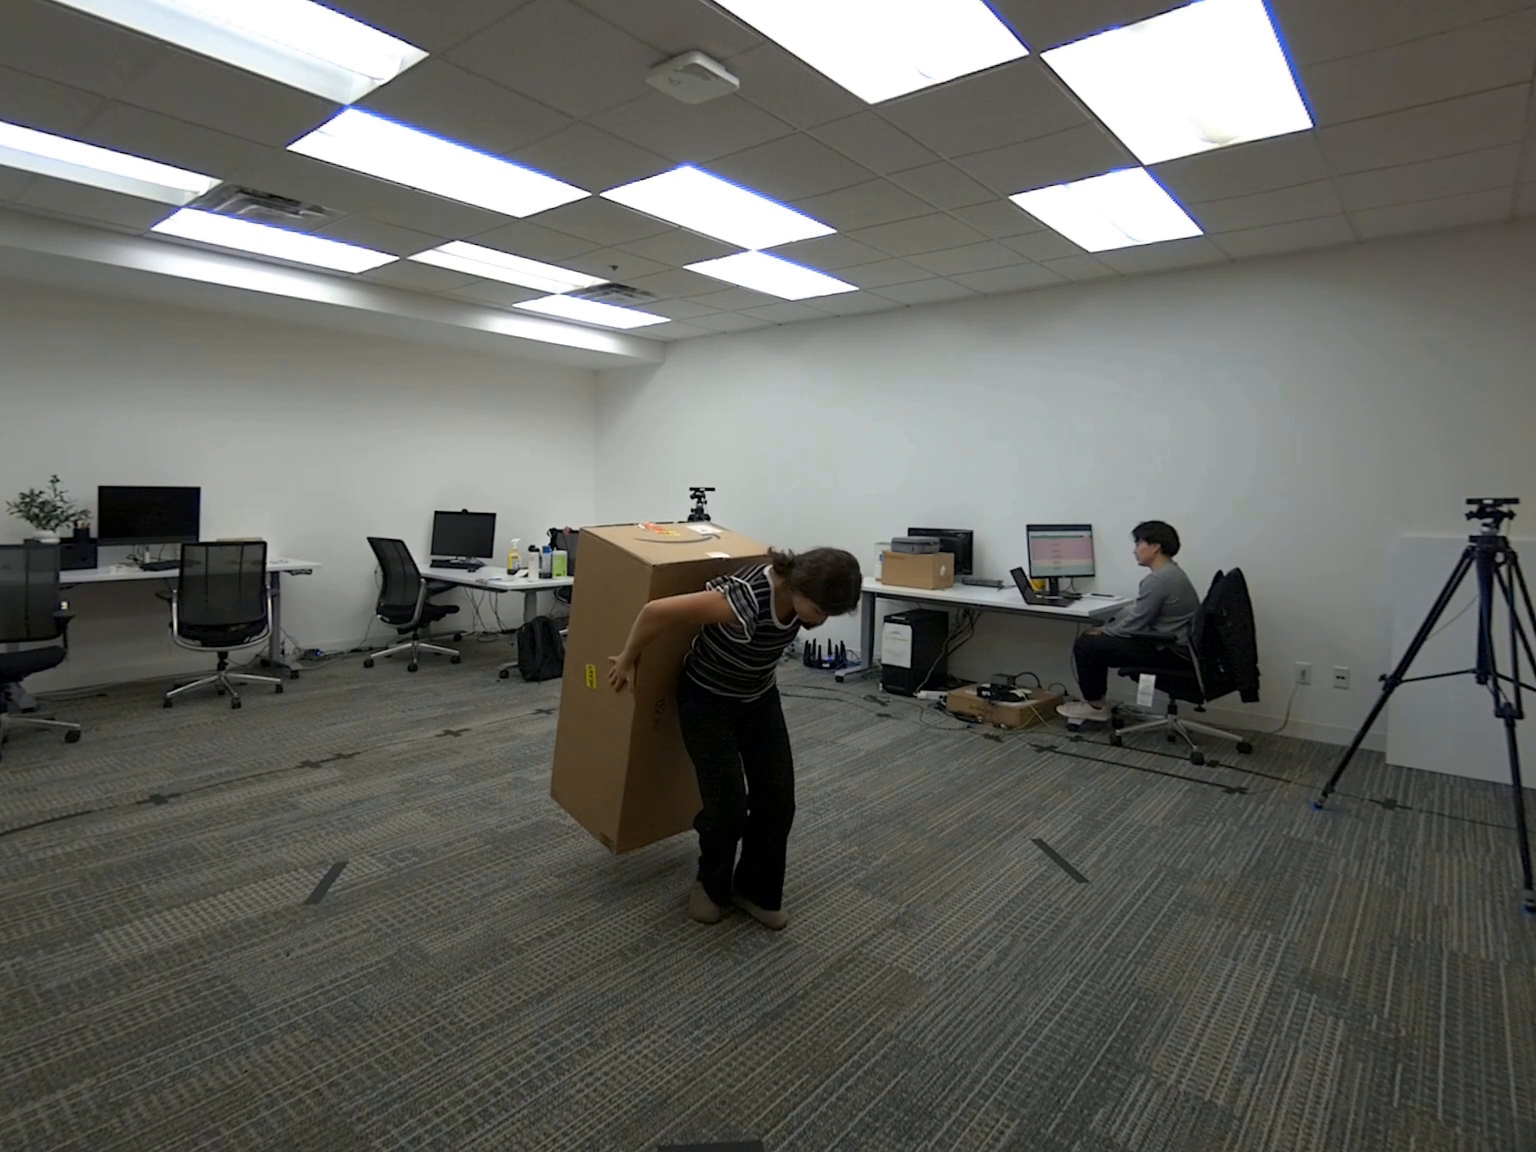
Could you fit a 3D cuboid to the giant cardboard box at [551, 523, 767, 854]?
[{"bbox_3d":[-0.391,0.365,3.036,0.561,1.015,0.443,-5,20,-44],"label":"giant cardboard box"}]
